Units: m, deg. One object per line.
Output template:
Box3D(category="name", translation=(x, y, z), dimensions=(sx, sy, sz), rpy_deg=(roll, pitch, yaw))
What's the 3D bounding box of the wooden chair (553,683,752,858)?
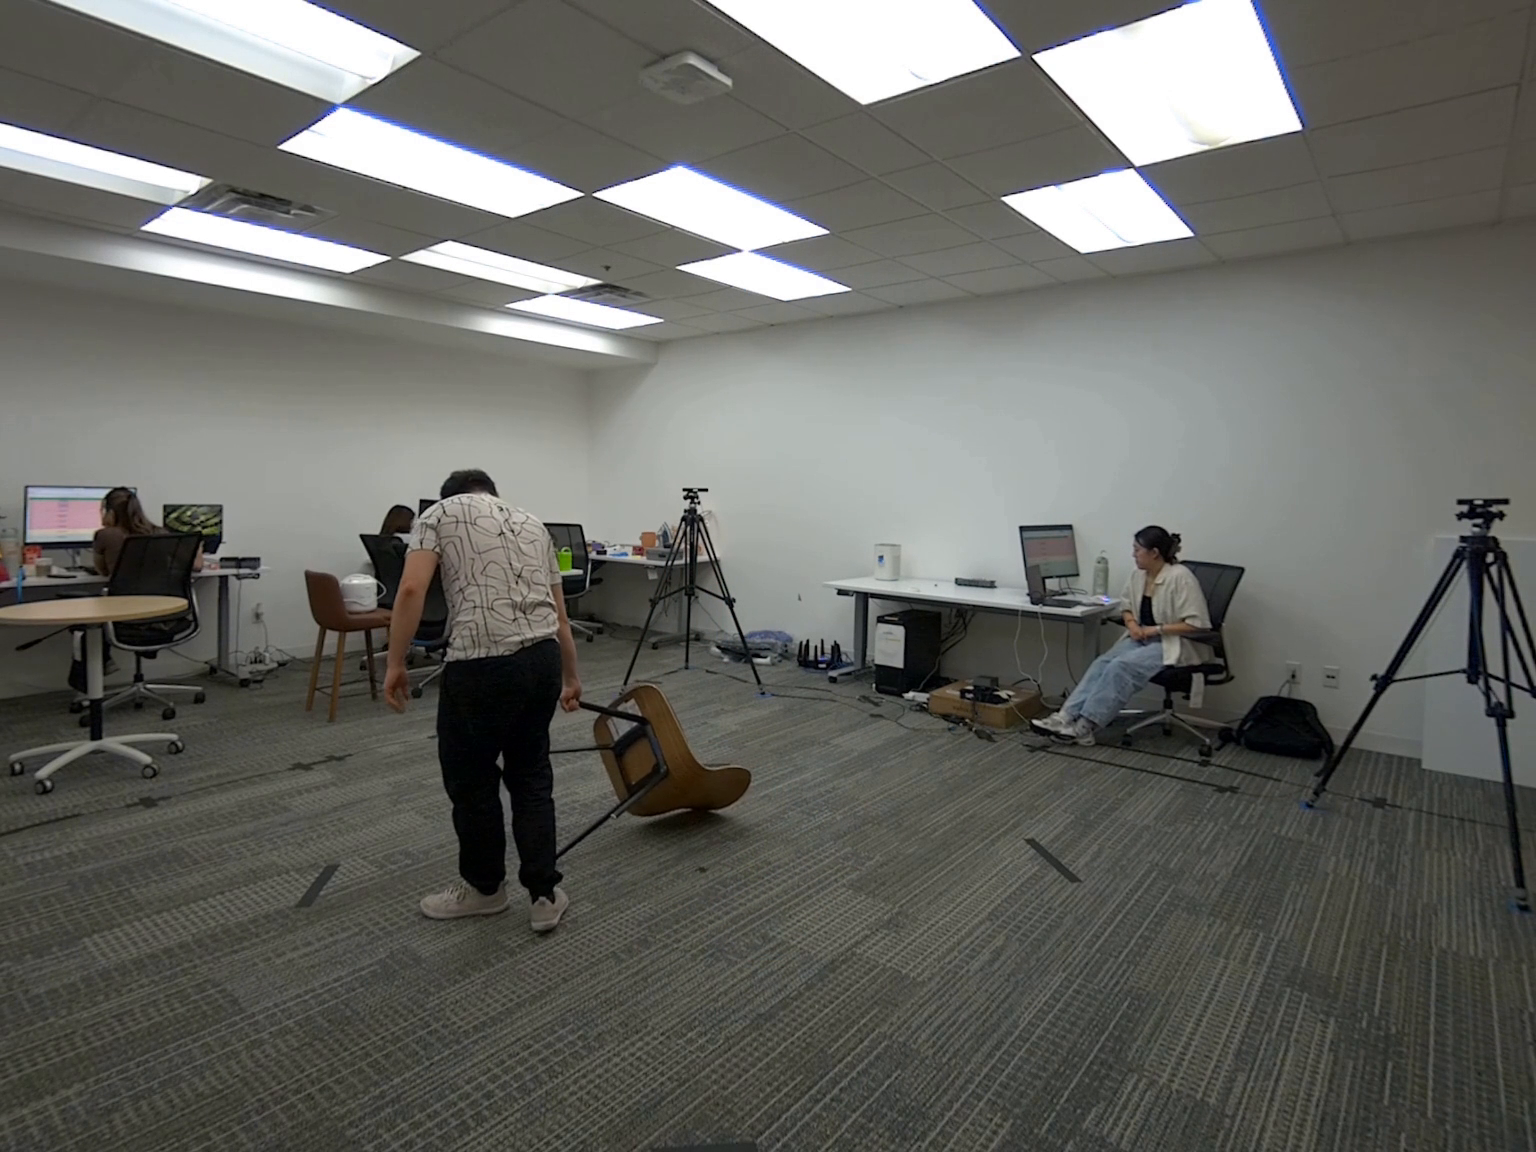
Box3D(category="wooden chair", translation=(-0.530, 0.732, 3.393), dimensions=(0.848, 0.539, 0.480), rpy_deg=(3, -37, -49))
